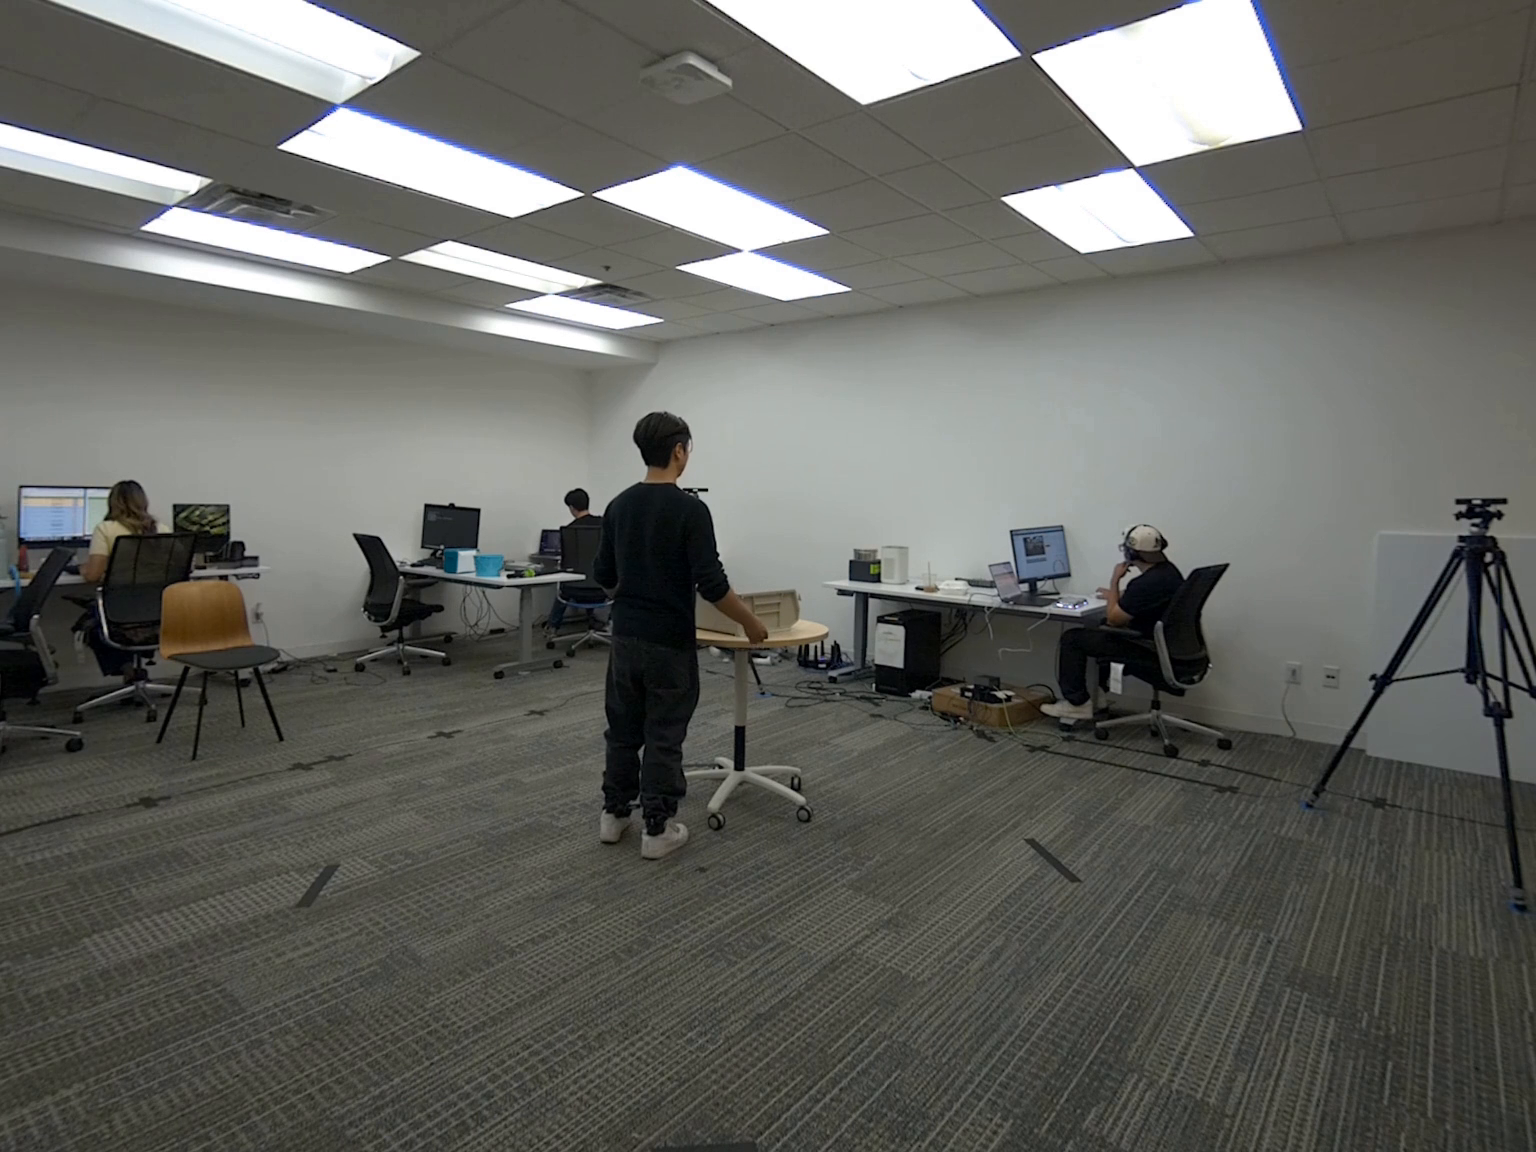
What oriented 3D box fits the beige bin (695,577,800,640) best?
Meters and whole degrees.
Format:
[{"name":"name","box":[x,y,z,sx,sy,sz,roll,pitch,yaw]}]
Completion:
[{"name":"beige bin","box":[-0.148,0.132,3.746,0.366,0.188,0.437,-6,8,-45]}]
